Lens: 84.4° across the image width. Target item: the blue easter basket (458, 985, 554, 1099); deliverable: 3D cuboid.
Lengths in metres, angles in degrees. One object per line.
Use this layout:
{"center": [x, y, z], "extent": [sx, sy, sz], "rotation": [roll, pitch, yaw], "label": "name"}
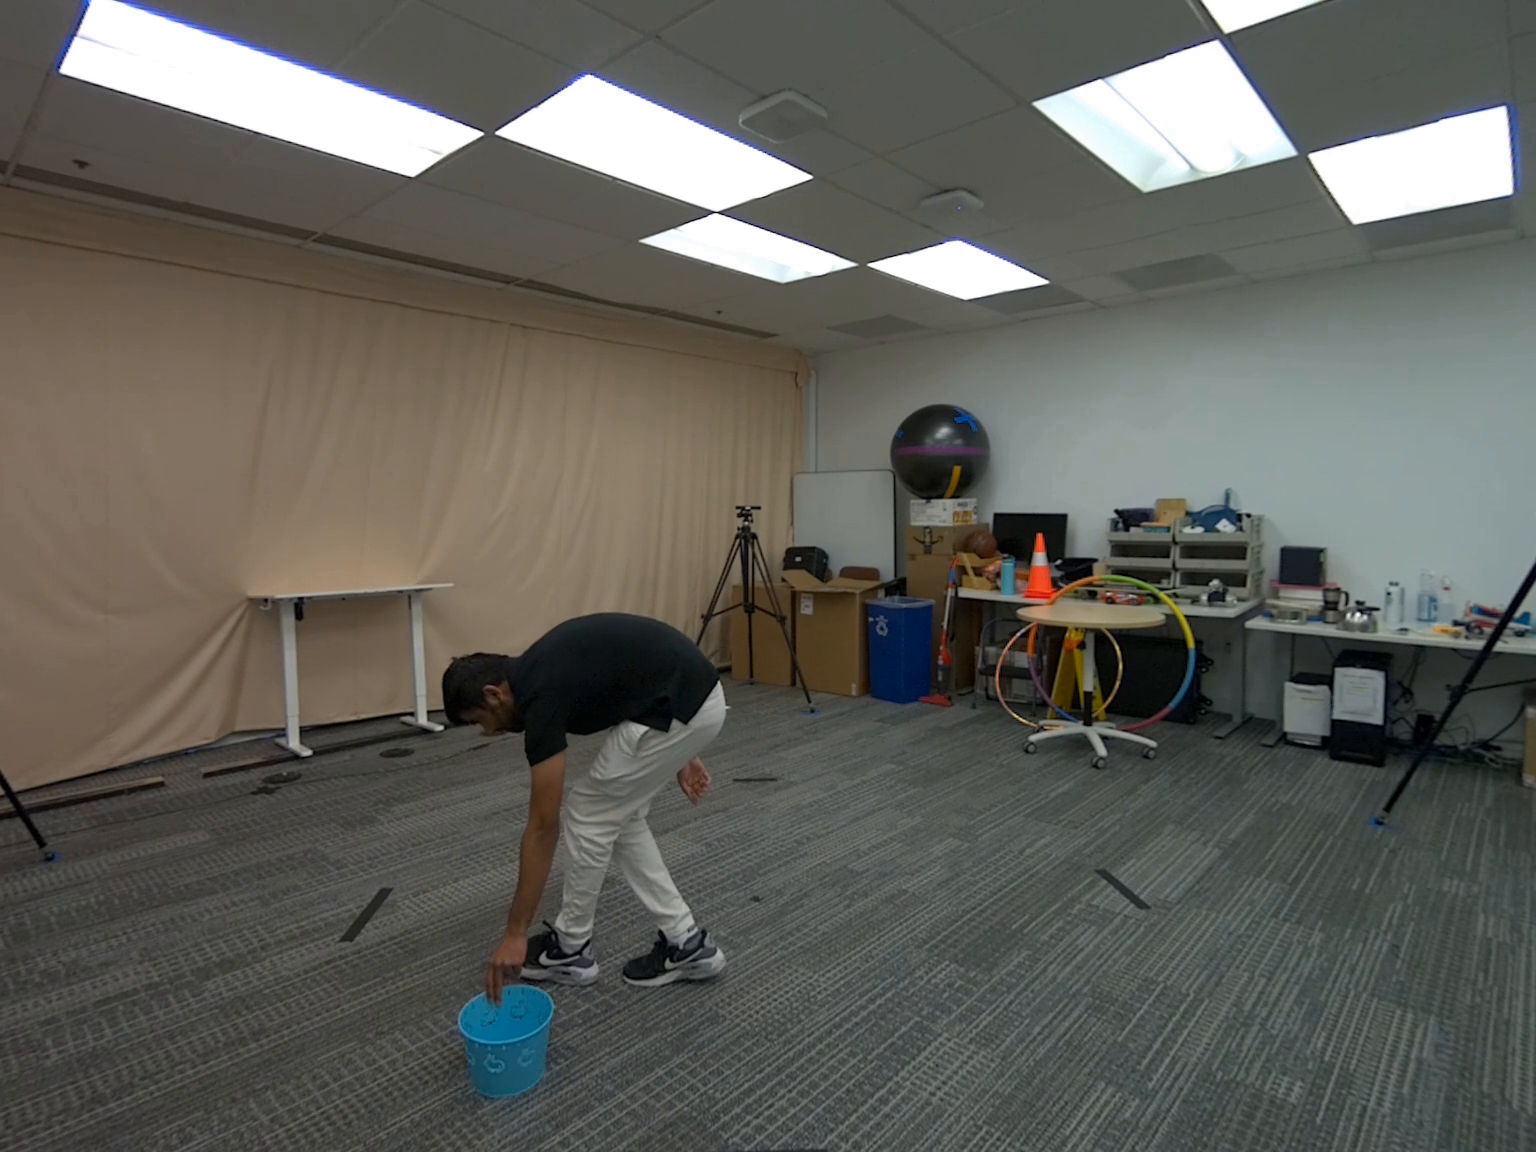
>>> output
{"center": [-0.636, 1.138, 2.074], "extent": [0.243, 0.155, 0.244], "rotation": [1, 3, -2], "label": "blue easter basket"}
